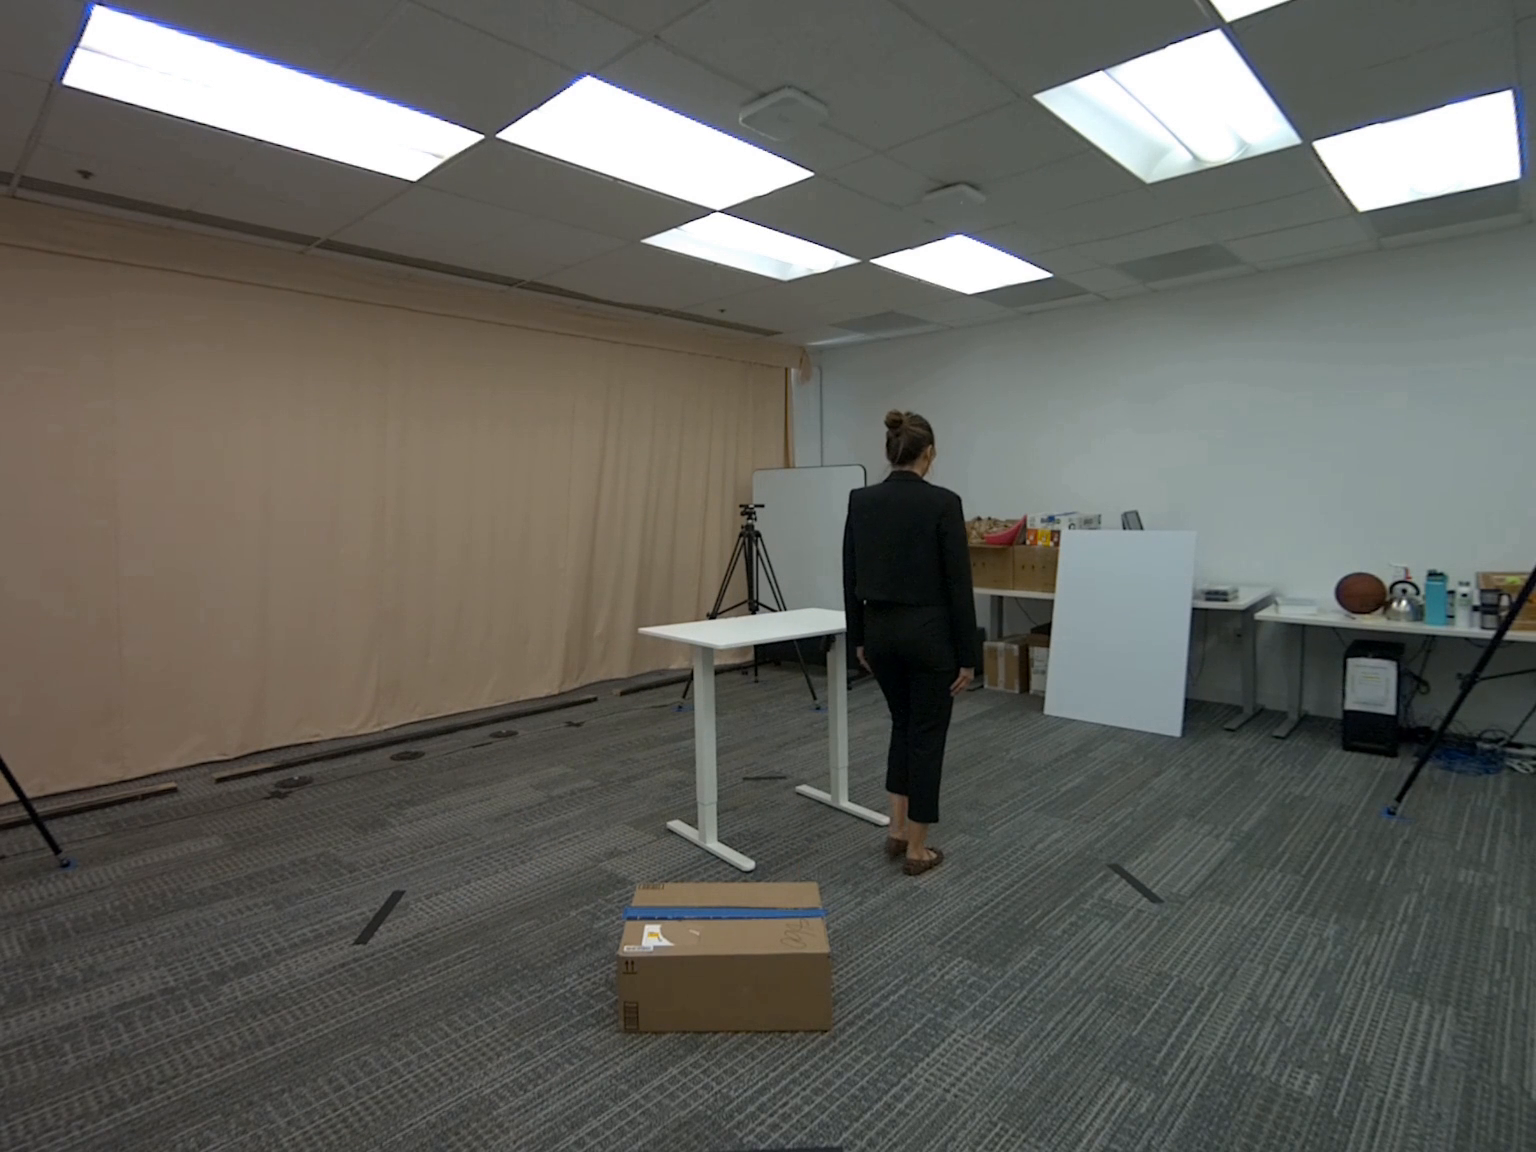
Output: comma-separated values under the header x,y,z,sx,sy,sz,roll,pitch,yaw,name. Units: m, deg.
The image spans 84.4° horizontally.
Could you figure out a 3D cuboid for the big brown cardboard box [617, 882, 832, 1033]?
x,y,z,sx,sy,sz,roll,pitch,yaw,name
-0.119,1.078,2.421,0.589,0.232,0.419,0,5,0,big brown cardboard box
